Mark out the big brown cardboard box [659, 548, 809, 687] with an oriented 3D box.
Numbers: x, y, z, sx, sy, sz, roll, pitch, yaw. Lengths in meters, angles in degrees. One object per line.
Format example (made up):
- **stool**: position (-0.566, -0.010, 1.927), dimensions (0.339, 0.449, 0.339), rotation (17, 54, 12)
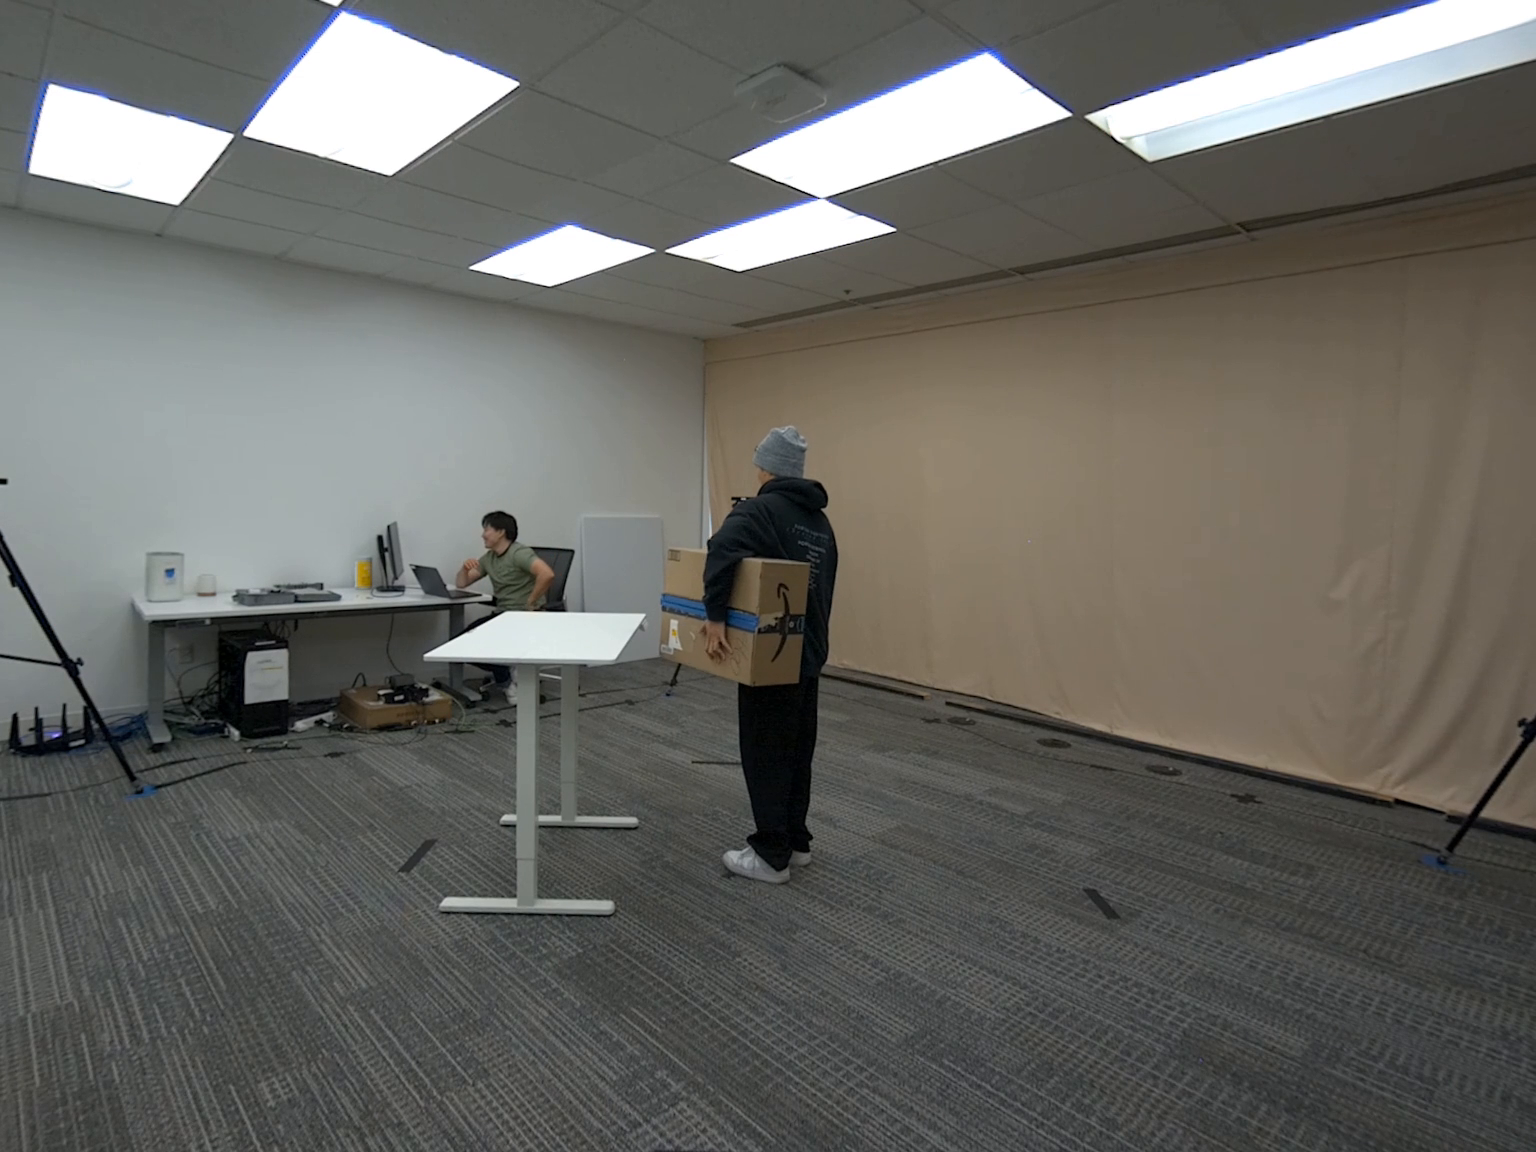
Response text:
- **big brown cardboard box**: position (-0.149, 0.135, 3.033), dimensions (0.227, 0.417, 0.604), rotation (2, 3, -40)
